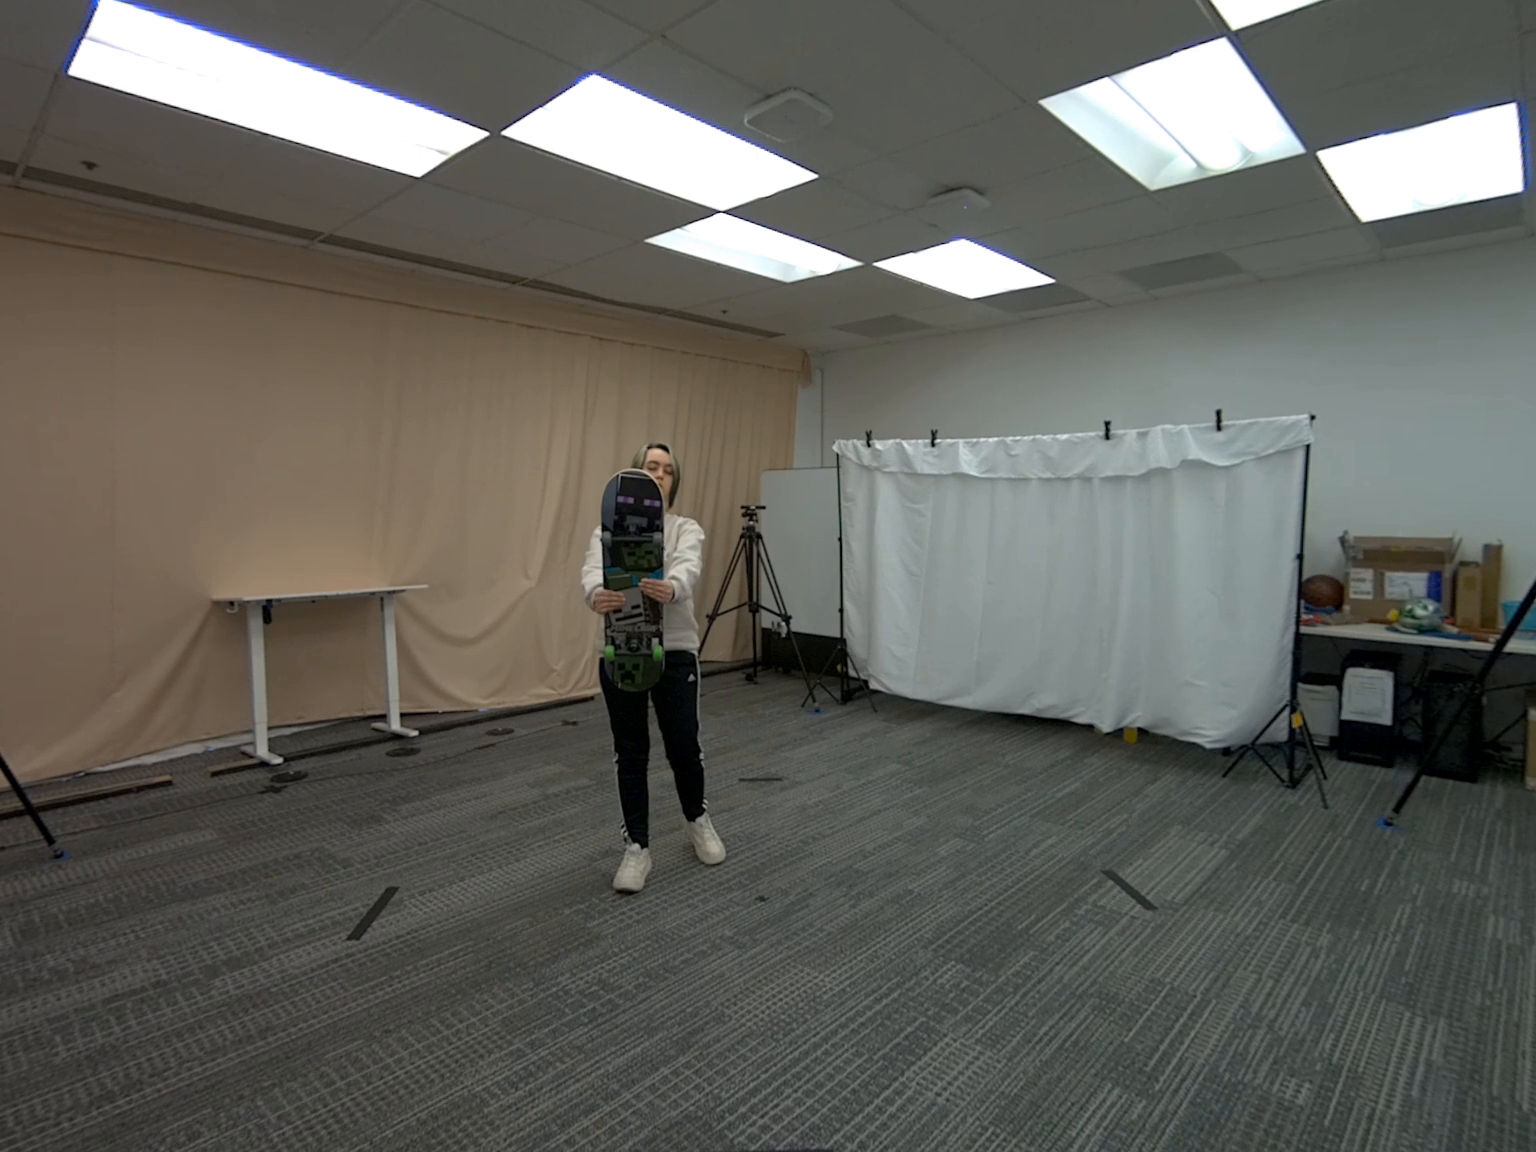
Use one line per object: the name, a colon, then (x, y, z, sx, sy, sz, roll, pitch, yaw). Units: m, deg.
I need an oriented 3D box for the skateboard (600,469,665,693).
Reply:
skateboard: (-0.418, 0.057, 2.647, 0.192, 0.775, 0.112, 2, 25, -5)
